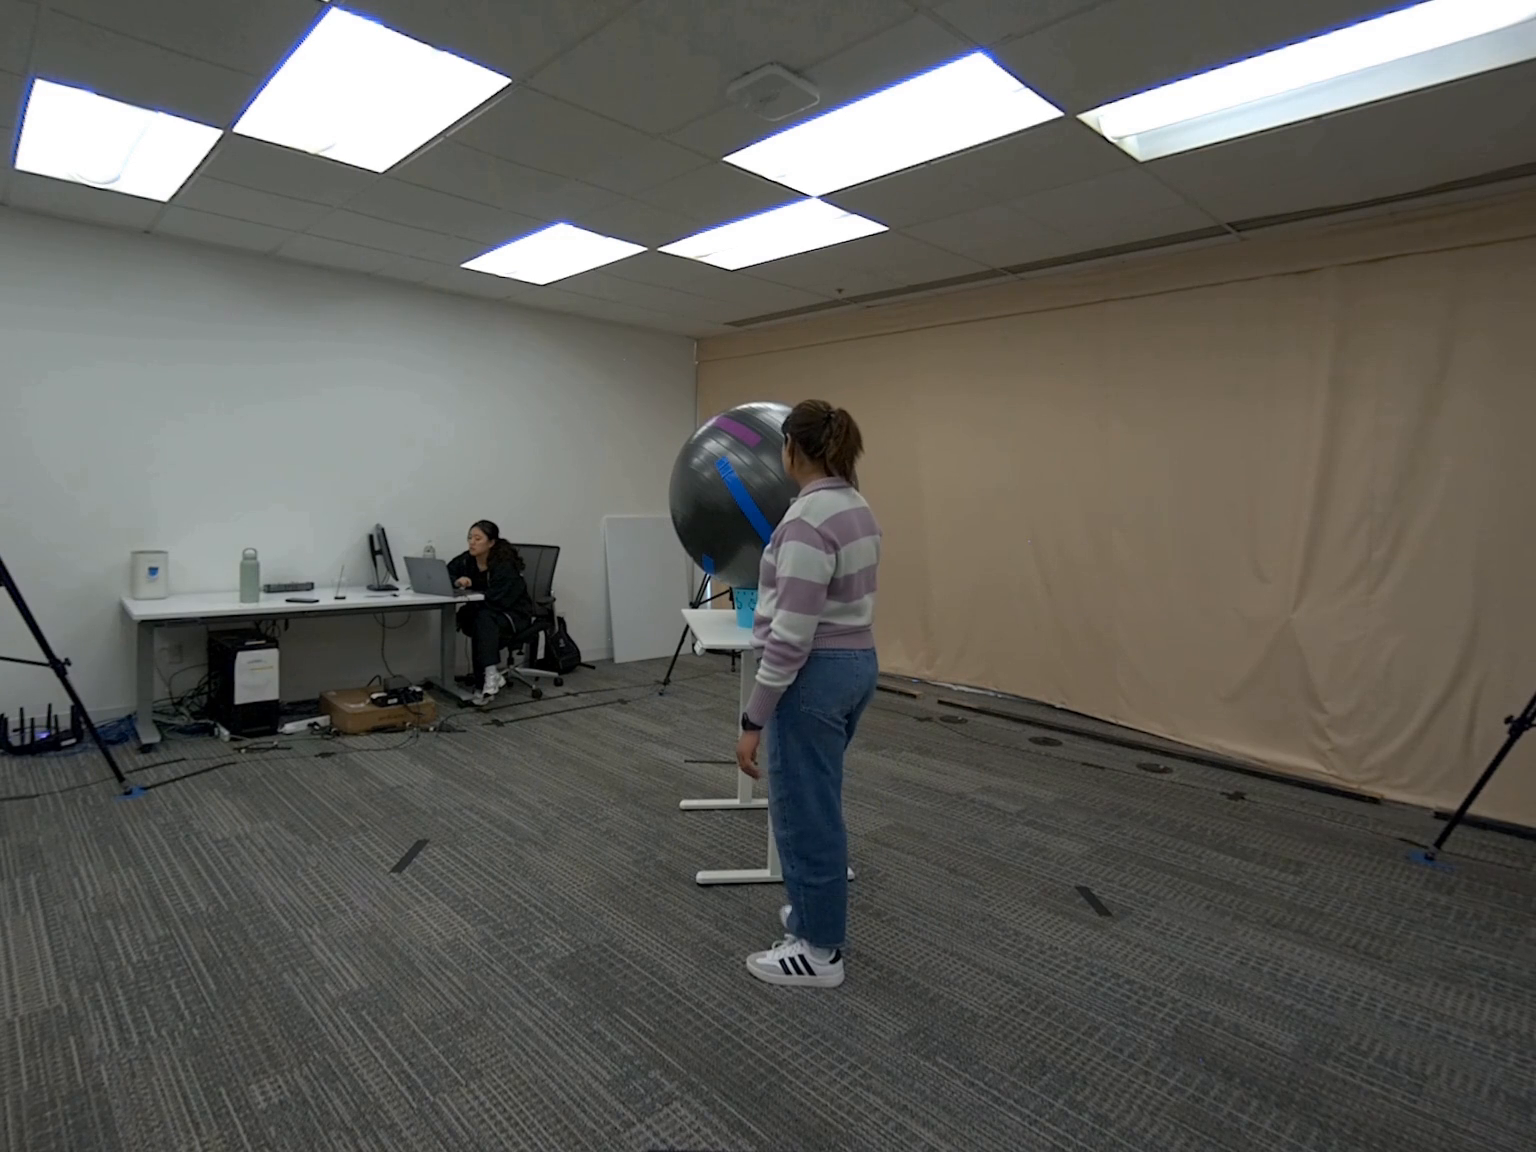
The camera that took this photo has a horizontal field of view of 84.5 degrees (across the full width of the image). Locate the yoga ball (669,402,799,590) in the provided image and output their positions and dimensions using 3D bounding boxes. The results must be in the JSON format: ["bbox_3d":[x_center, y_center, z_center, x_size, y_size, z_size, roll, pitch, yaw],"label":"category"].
[{"bbox_3d":[-0.021,-0.310,3.372,0.757,0.756,0.761,1,4,-1],"label":"yoga ball"}]
